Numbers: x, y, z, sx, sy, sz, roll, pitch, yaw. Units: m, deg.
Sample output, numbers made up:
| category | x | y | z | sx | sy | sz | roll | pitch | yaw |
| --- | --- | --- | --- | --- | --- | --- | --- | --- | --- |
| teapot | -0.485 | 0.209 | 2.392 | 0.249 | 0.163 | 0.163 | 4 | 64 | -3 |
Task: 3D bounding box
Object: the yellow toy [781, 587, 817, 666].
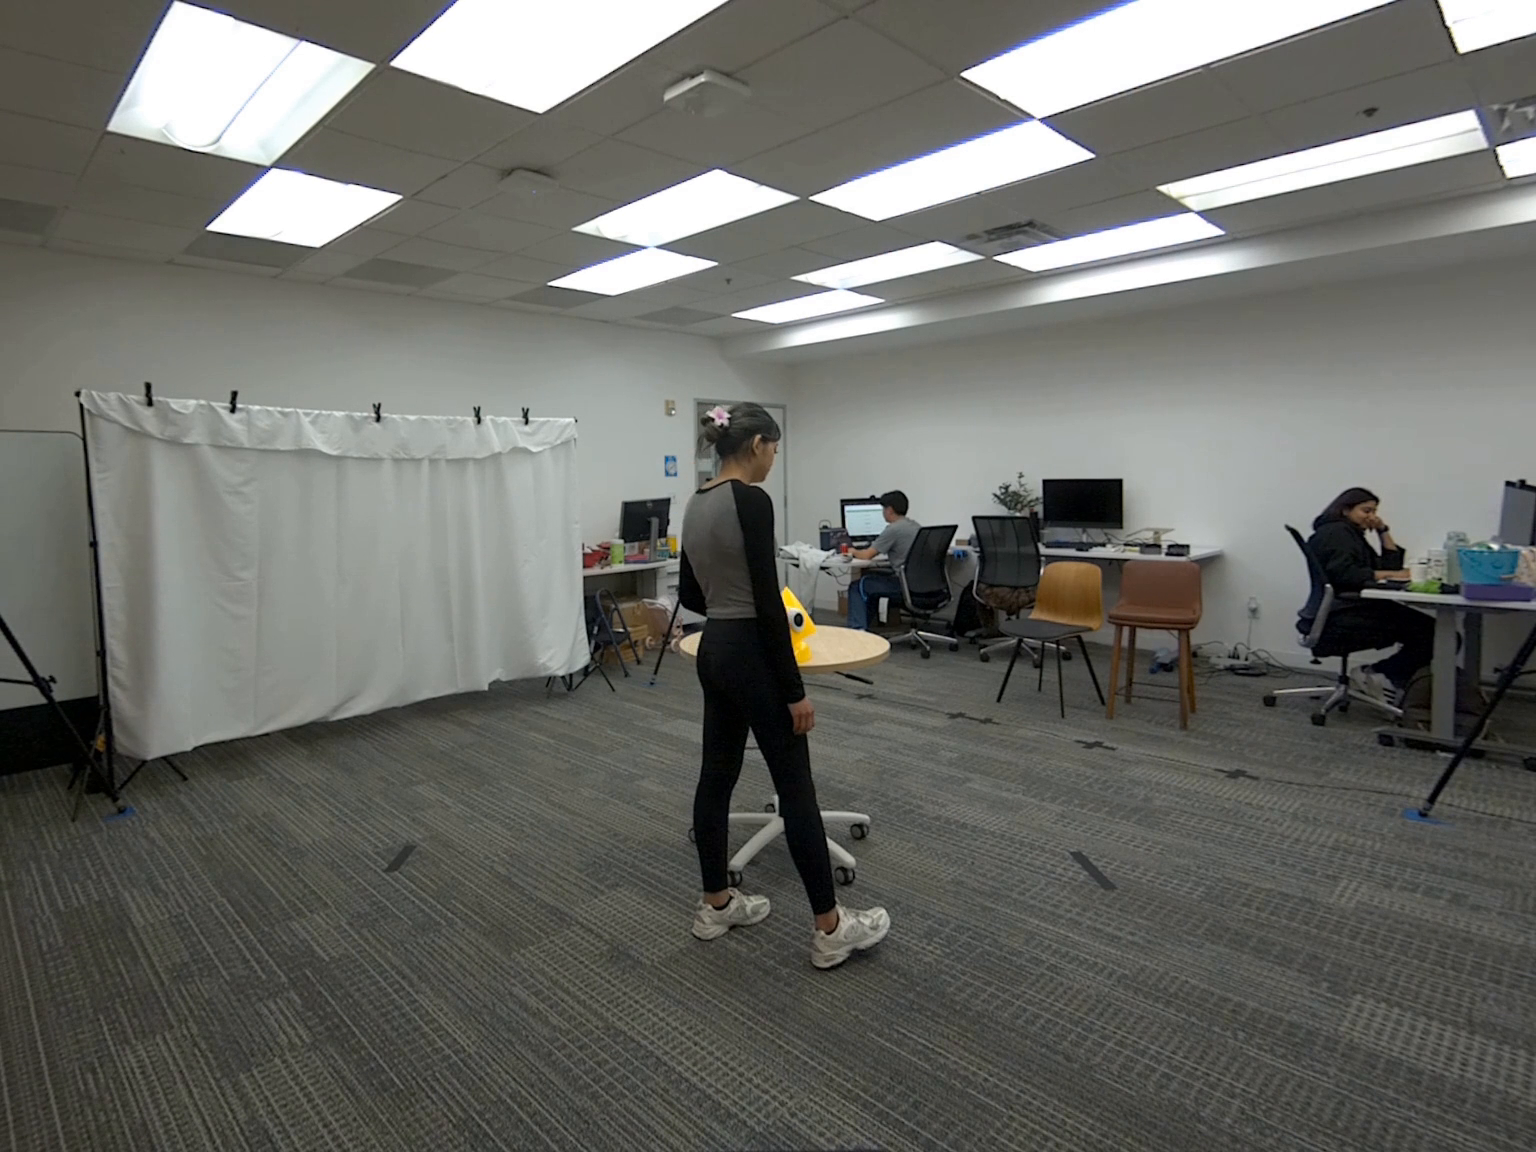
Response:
| category | x | y | z | sx | sy | sz | roll | pitch | yaw |
| --- | --- | --- | --- | --- | --- | --- | --- | --- | --- |
| yellow toy | 0.055 | 0.162 | 2.891 | 0.209 | 0.230 | 0.190 | 2 | 6 | 22 |
